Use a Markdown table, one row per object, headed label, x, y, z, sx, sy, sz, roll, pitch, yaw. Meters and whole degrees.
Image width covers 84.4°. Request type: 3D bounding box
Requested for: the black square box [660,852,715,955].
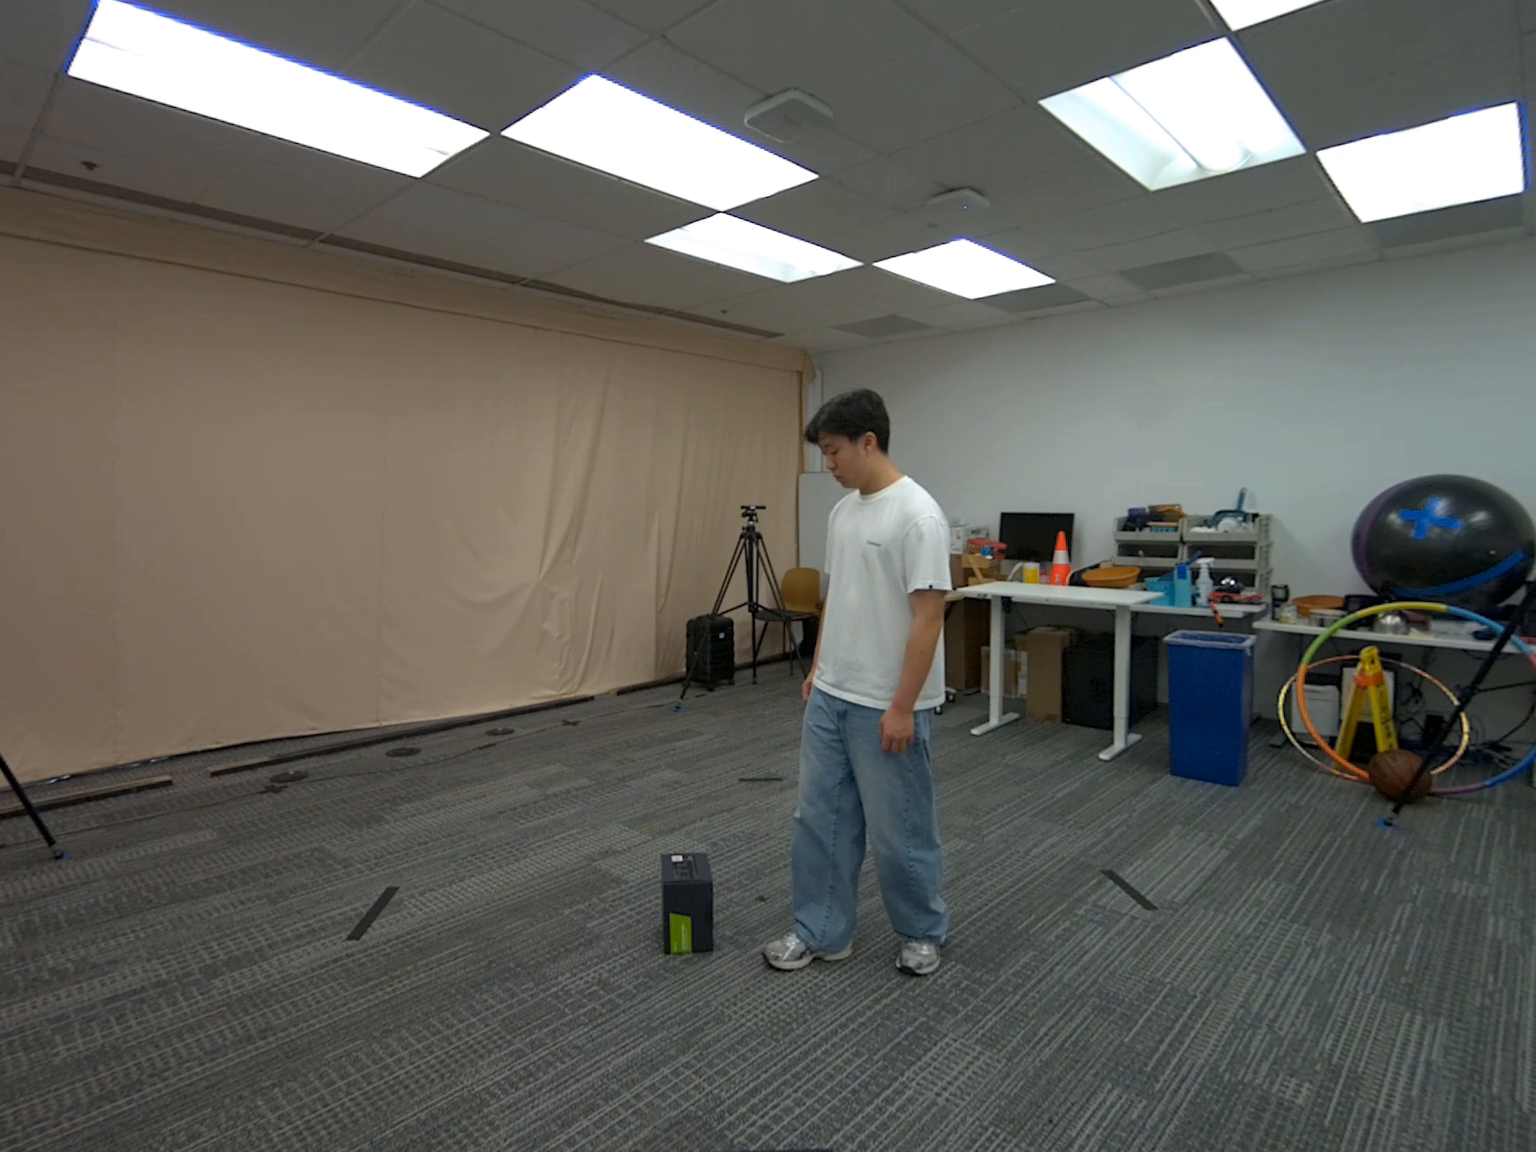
| label | x | y | z | sx | sy | sz | roll | pitch | yaw |
| --- | --- | --- | --- | --- | --- | --- | --- | --- | --- |
| black square box | -0.264 | 1.048 | 2.717 | 0.154 | 0.227 | 0.219 | -1 | 3 | -9 |
